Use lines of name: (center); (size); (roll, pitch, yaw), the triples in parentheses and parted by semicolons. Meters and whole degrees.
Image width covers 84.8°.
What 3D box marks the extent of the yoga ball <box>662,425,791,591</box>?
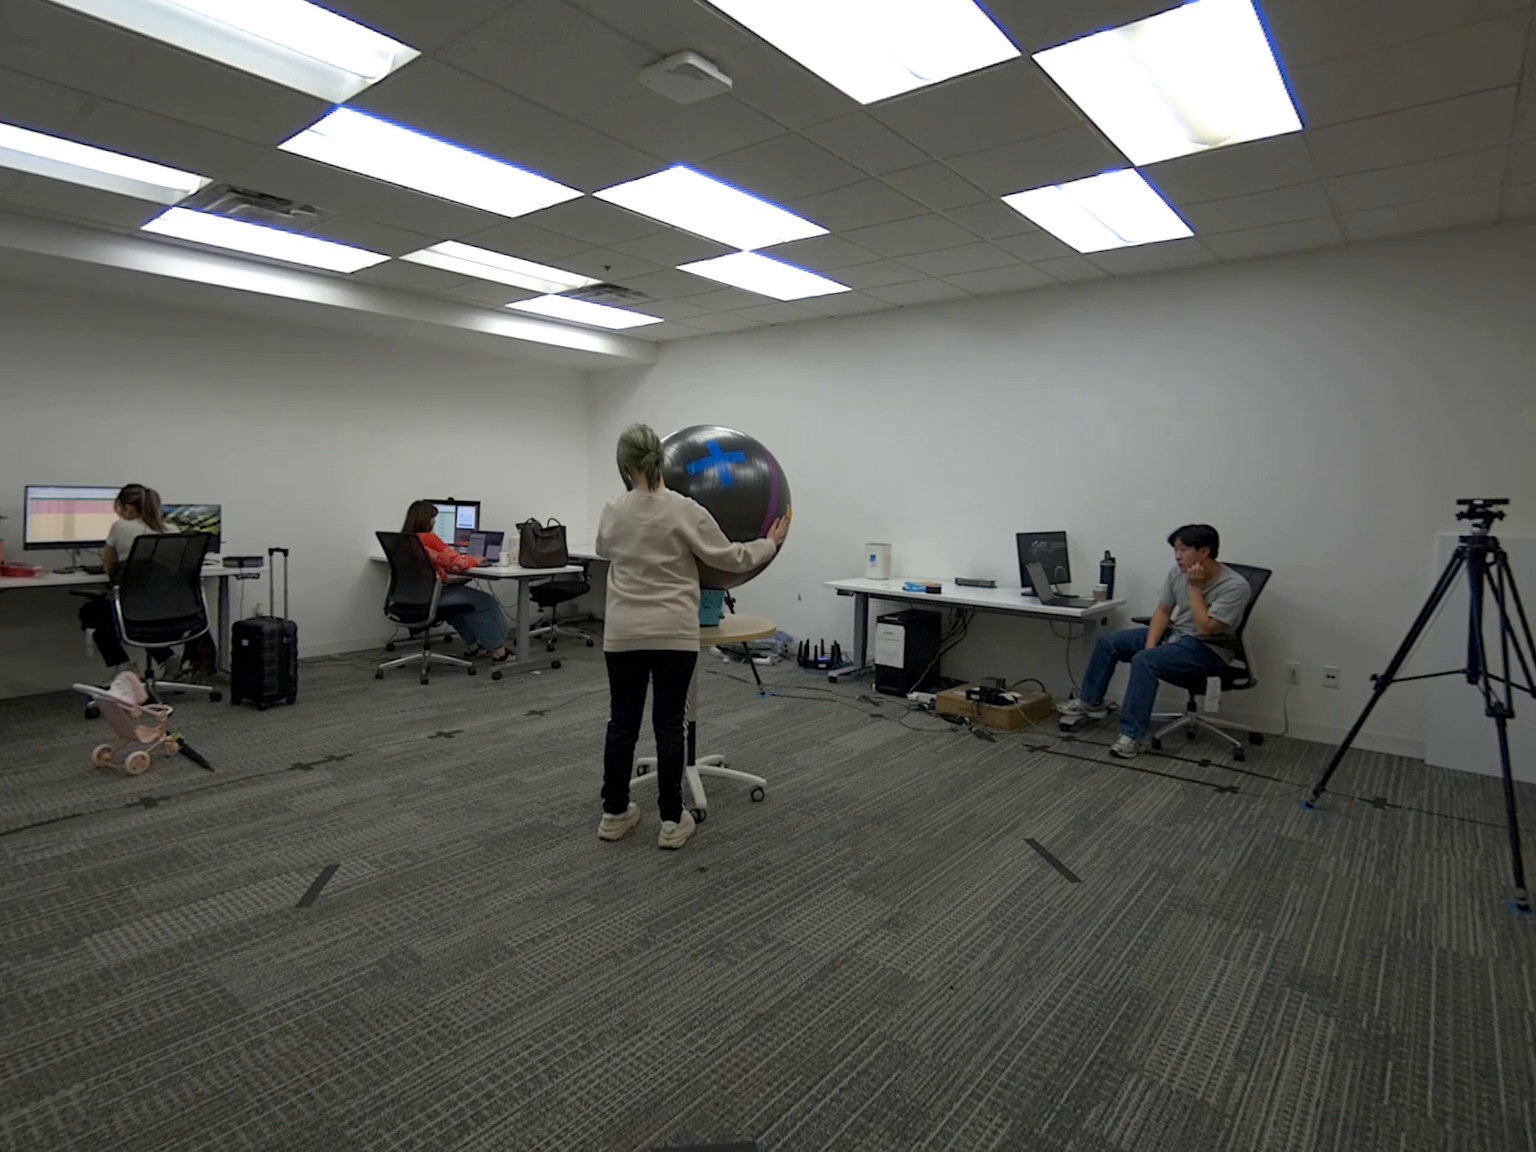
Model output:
yoga ball: (-0.280, -0.307, 3.865); (0.757, 0.756, 0.762); (1, 4, -2)
